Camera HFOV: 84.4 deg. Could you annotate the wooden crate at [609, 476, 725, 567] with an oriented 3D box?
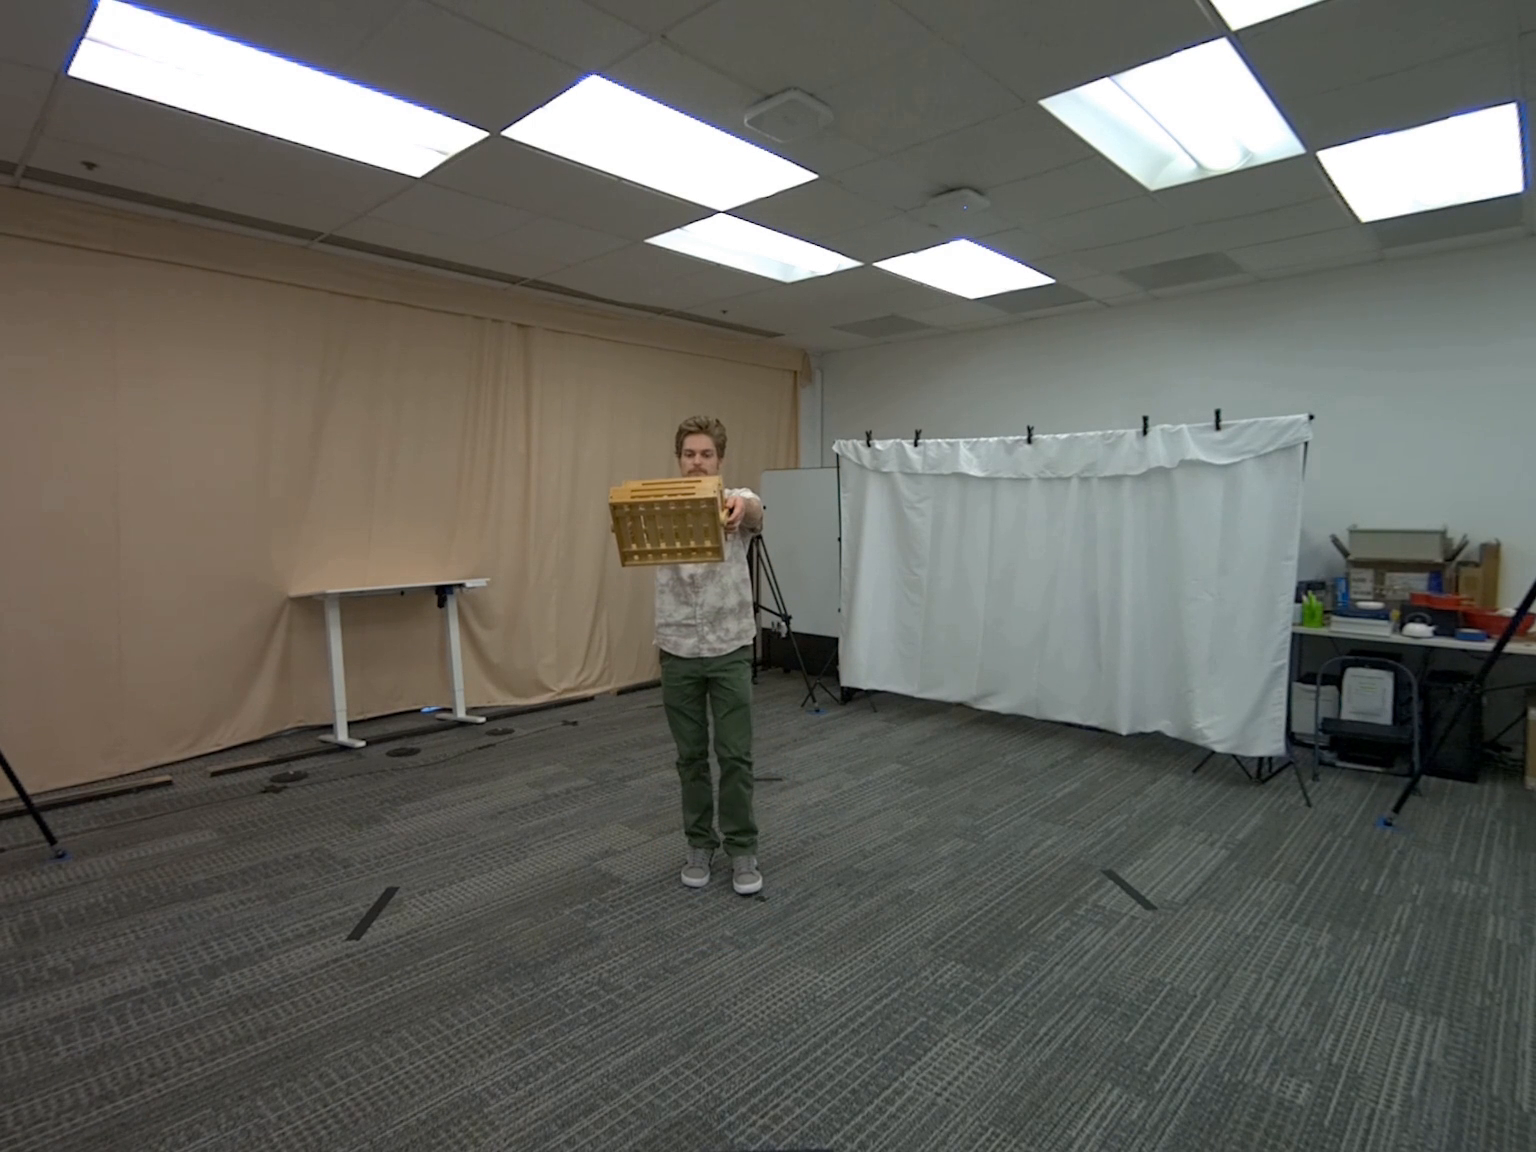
[{"bbox_3d":[-0.281,-0.190,2.479,0.327,0.295,0.277,-2,39,6],"label":"wooden crate"}]
